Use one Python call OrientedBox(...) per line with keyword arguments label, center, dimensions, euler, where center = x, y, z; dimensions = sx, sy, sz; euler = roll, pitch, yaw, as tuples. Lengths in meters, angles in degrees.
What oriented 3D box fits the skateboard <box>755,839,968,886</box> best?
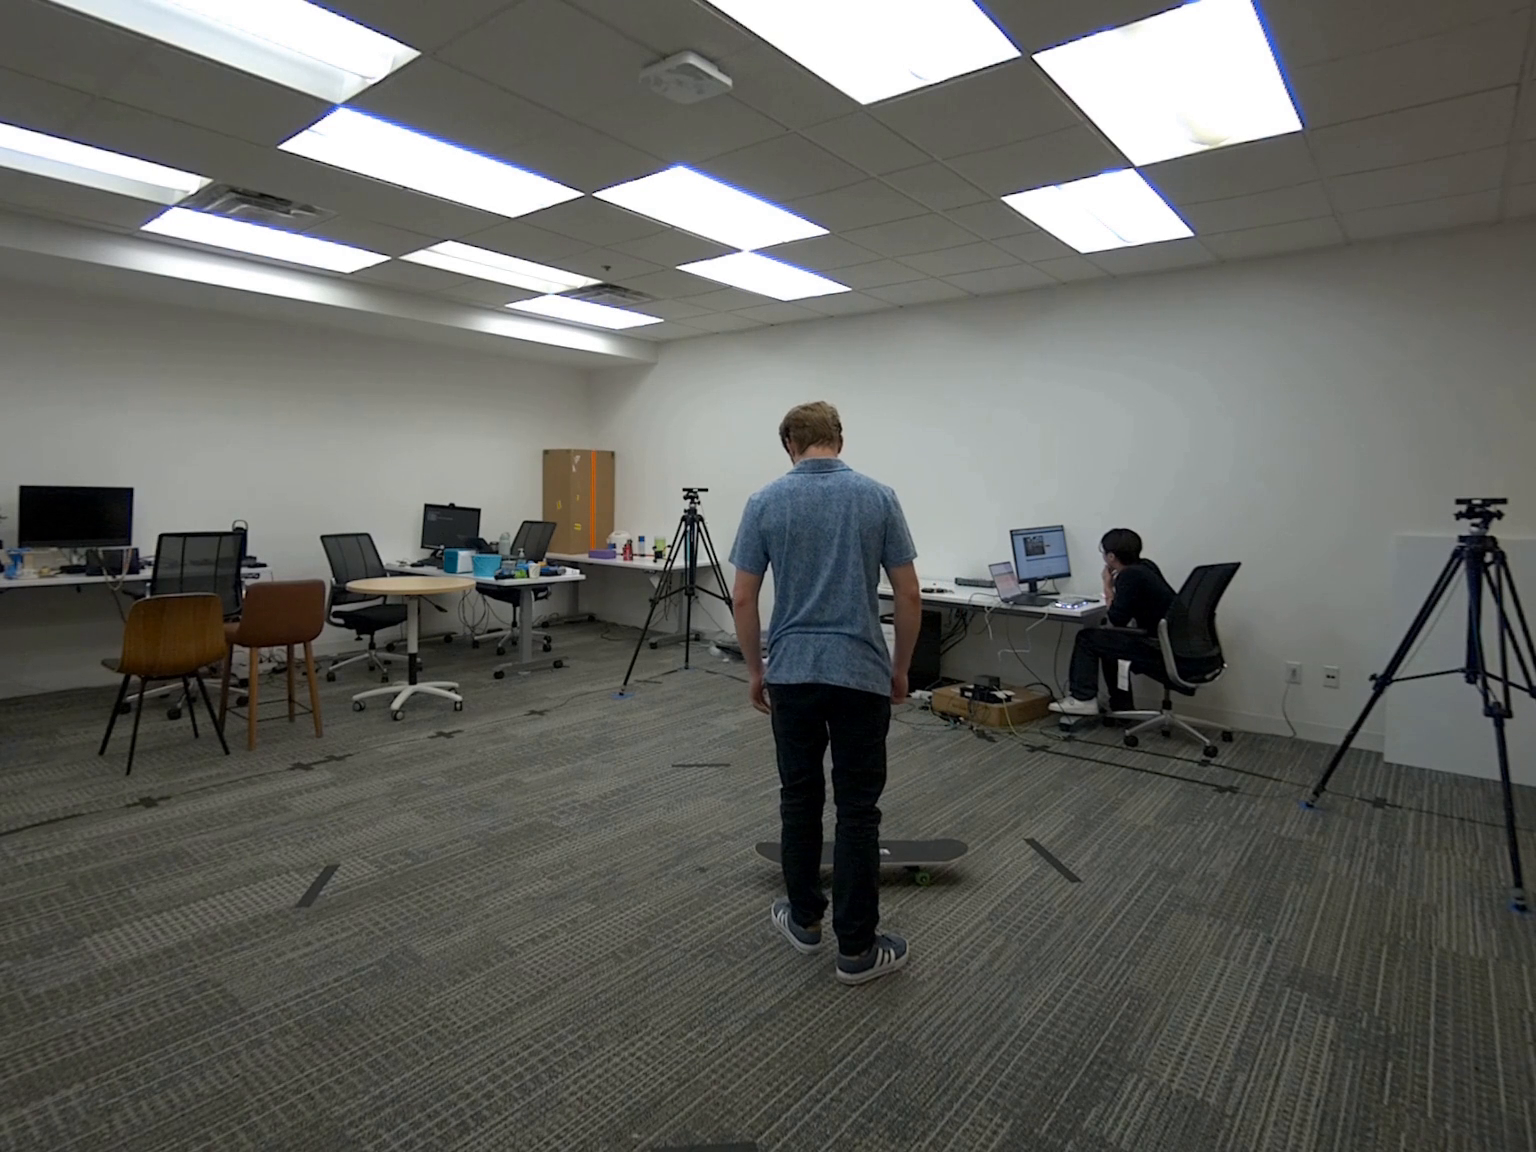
OrientedBox(label="skateboard", center=(0.332, 1.027, 3.079), dimensions=(0.780, 0.110, 0.195), euler=(1, 5, -6))
